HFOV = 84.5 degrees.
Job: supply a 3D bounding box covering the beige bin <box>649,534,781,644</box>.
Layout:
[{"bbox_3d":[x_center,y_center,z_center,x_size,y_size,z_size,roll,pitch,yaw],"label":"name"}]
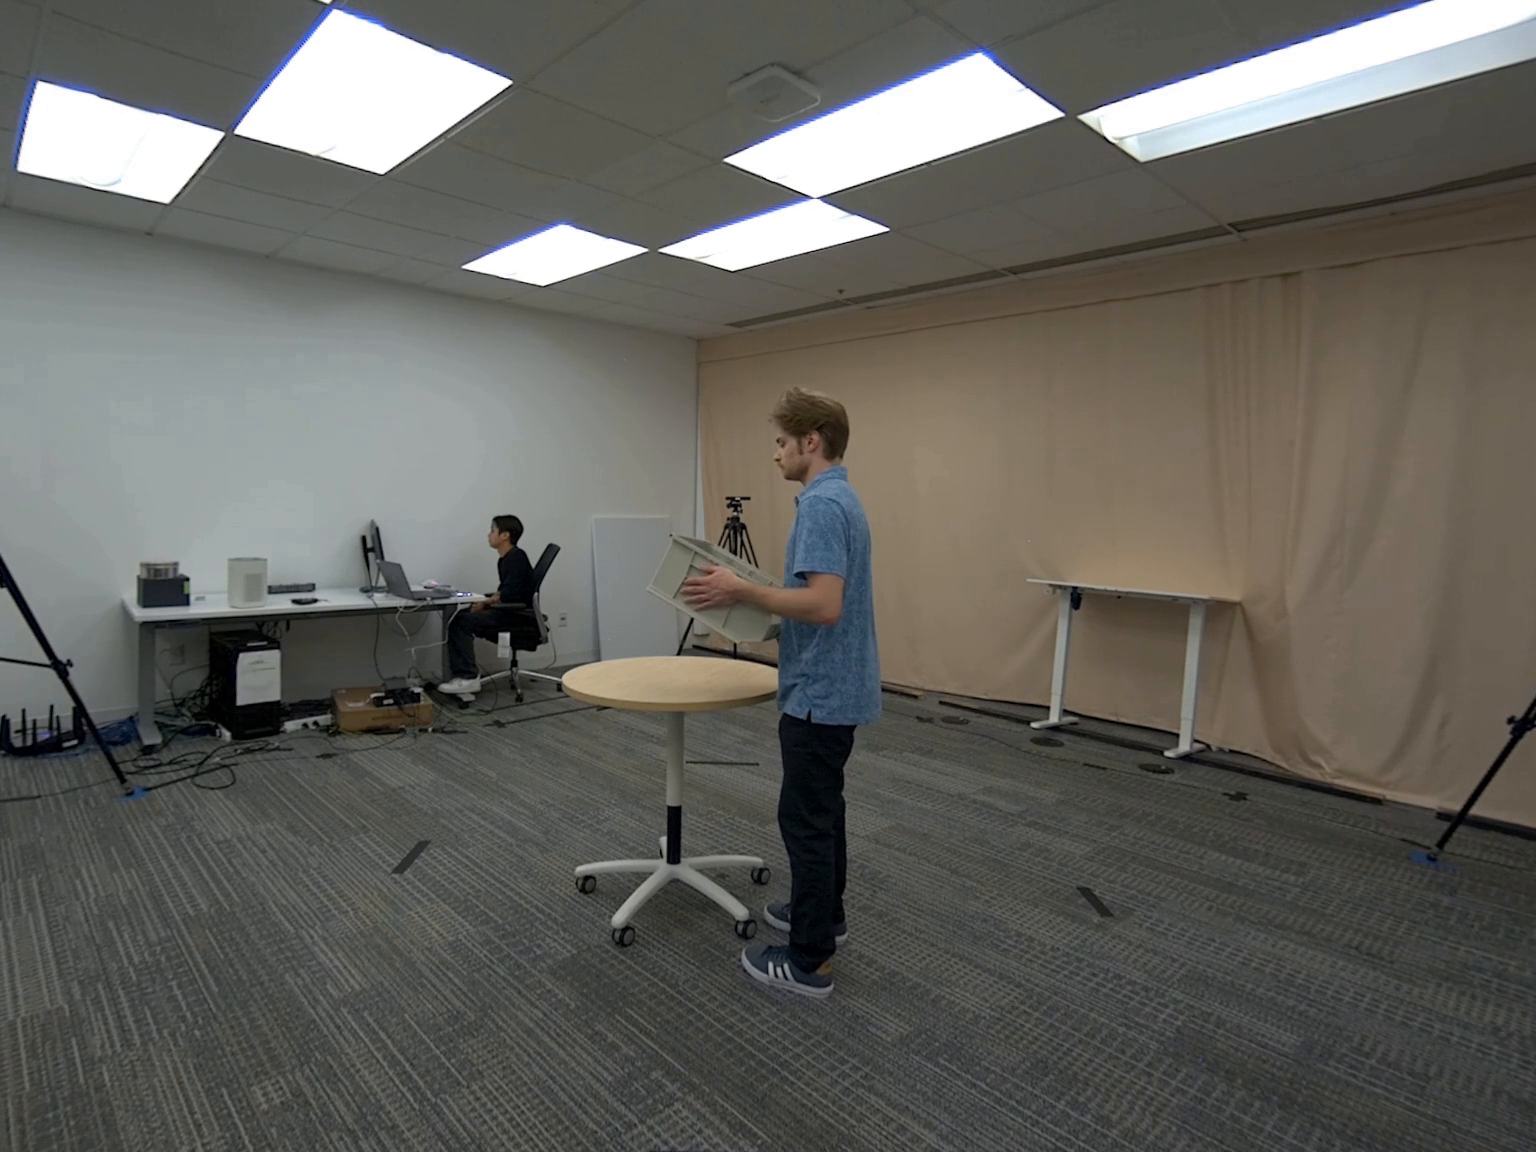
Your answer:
[{"bbox_3d":[-0.114,0.052,2.553,0.382,0.189,0.417,29,4,11],"label":"beige bin"}]
